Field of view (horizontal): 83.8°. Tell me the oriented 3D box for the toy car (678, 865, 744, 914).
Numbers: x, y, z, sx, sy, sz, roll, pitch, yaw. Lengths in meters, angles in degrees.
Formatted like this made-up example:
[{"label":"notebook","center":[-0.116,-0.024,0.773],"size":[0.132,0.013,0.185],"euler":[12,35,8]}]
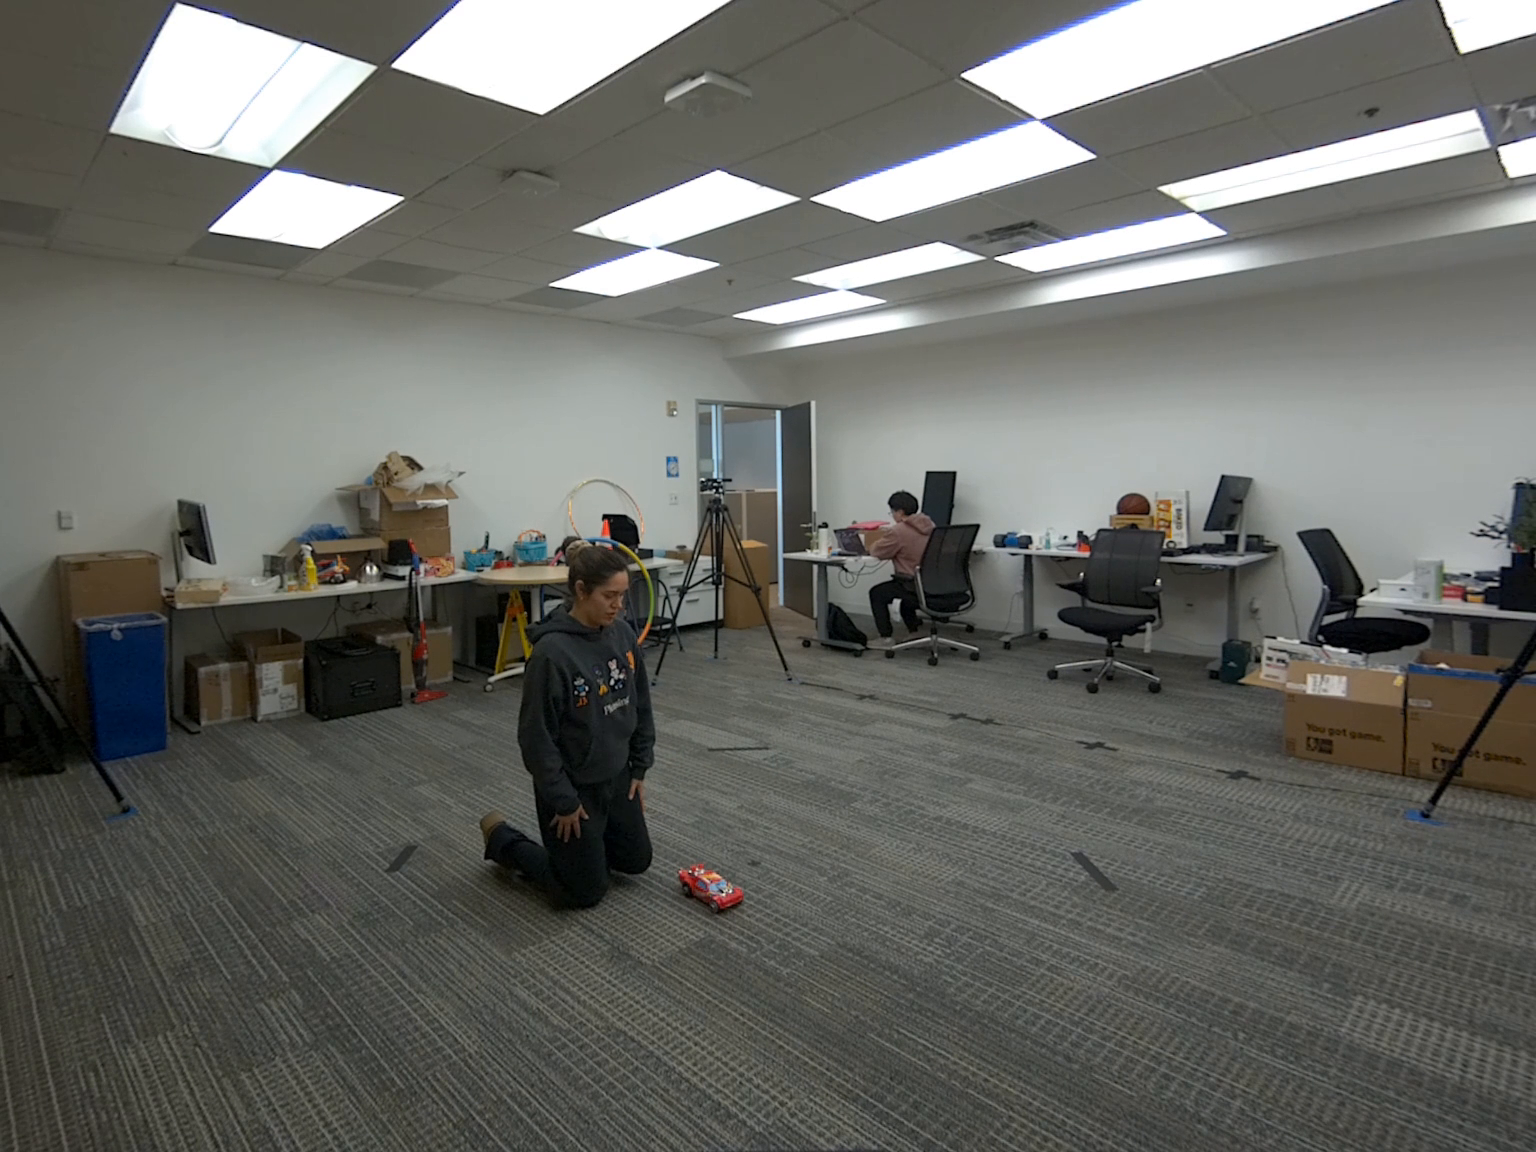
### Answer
[{"label":"toy car","center":[-0.200,1.044,2.837],"size":[0.127,0.082,0.264],"euler":[-6,19,-40]}]
